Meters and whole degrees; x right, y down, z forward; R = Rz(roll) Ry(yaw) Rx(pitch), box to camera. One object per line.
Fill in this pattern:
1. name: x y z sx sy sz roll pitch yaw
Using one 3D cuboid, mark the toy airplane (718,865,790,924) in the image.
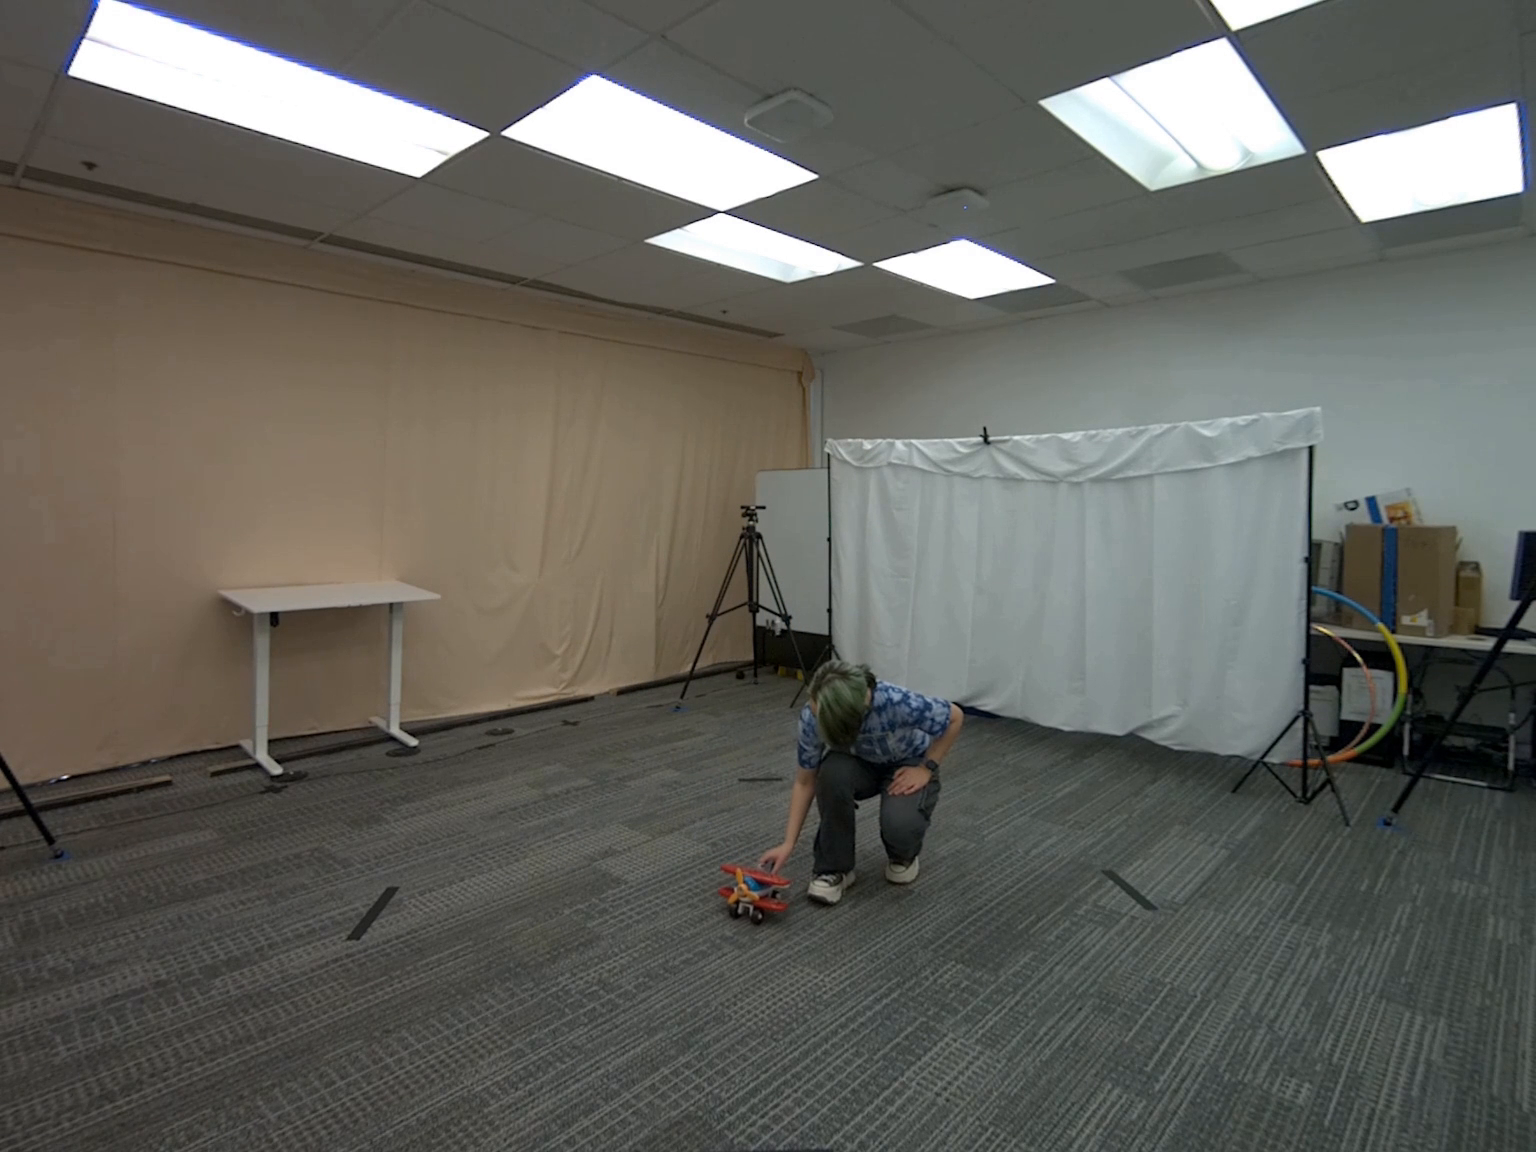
1. toy airplane: -0.046 1.078 2.904 0.251 0.156 0.260 1 6 0
